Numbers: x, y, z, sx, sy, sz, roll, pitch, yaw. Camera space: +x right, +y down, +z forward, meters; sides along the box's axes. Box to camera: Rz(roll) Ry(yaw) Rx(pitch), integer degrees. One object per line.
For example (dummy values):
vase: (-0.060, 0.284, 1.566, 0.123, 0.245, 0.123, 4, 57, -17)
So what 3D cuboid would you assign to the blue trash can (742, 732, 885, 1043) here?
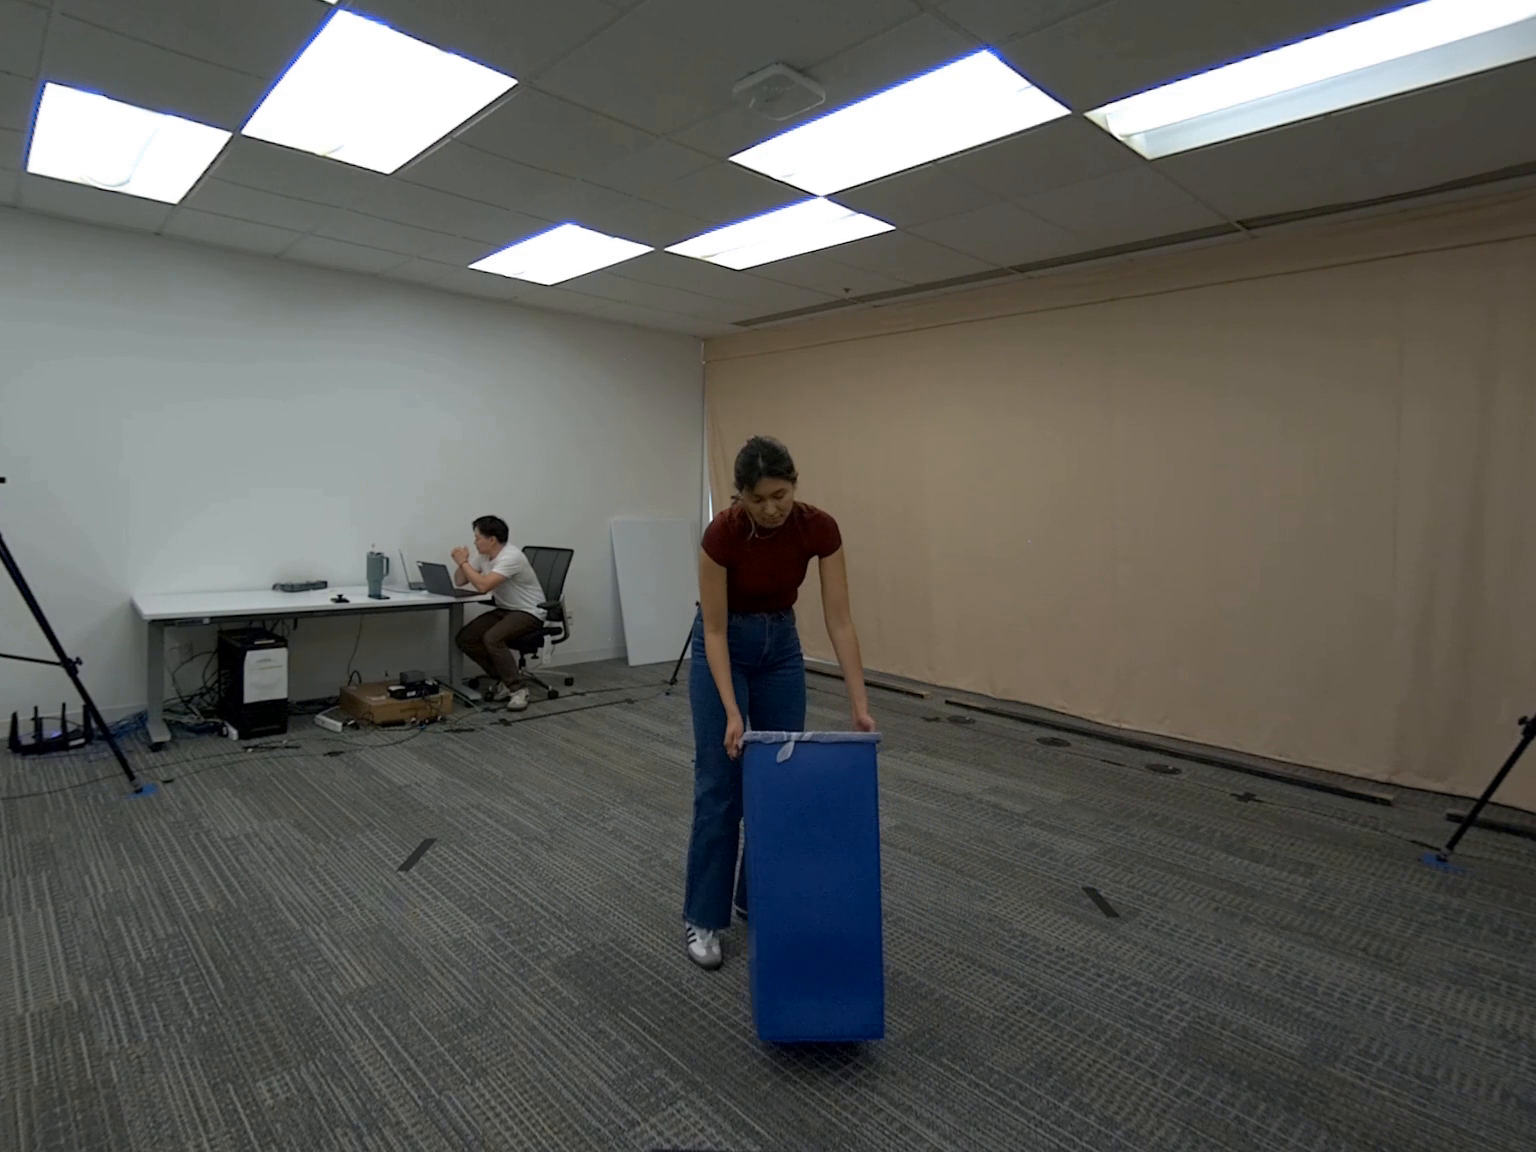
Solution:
blue trash can: (0.106, 0.807, 2.242, 0.377, 0.723, 0.370, 1, -18, -5)
